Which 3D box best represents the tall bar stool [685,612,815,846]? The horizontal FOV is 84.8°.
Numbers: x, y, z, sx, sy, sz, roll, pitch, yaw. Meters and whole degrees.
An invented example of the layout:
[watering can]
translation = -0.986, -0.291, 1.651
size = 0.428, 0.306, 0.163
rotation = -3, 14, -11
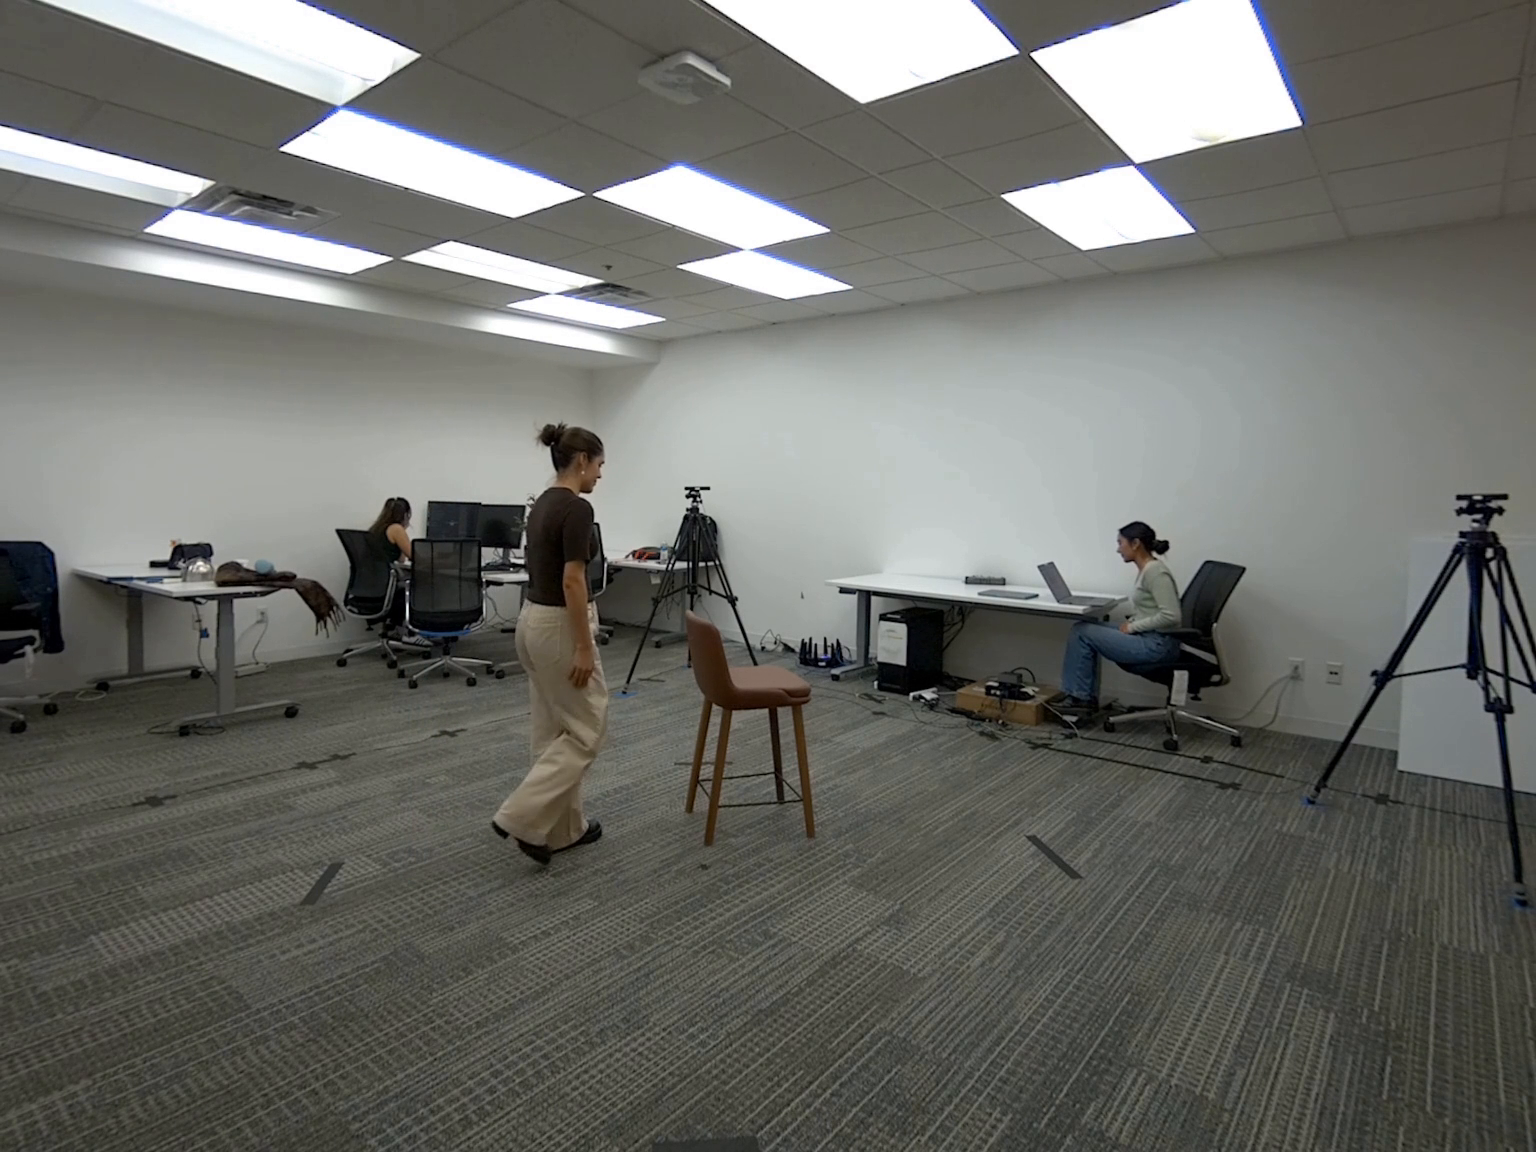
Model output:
[tall bar stool]
translation = -0.096, 0.590, 3.515
size = 0.460, 0.887, 0.465
rotation = -2, 4, -17
